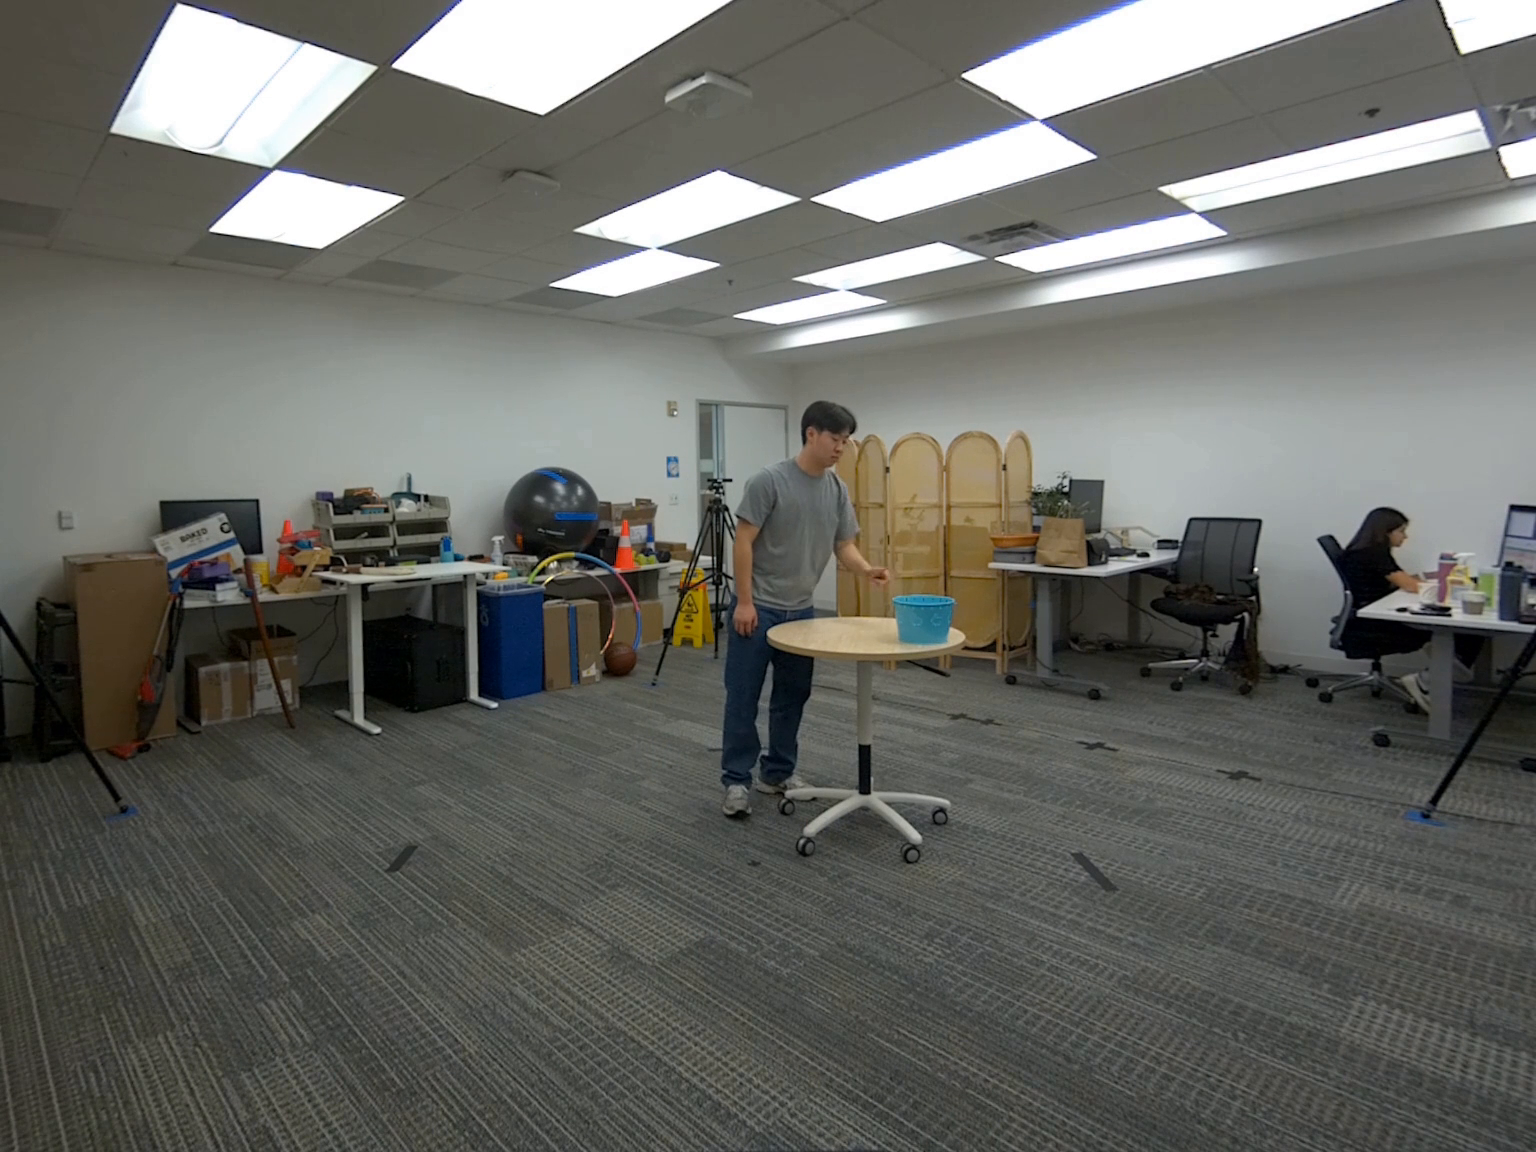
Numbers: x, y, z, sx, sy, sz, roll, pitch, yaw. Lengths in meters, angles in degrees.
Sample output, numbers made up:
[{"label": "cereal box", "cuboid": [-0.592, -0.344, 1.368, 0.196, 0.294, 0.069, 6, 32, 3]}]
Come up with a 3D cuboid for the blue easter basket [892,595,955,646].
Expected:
[{"label": "blue easter basket", "cuboid": [0.602, 0.170, 3.215, 0.243, 0.155, 0.245, 0, 6, -2]}]
